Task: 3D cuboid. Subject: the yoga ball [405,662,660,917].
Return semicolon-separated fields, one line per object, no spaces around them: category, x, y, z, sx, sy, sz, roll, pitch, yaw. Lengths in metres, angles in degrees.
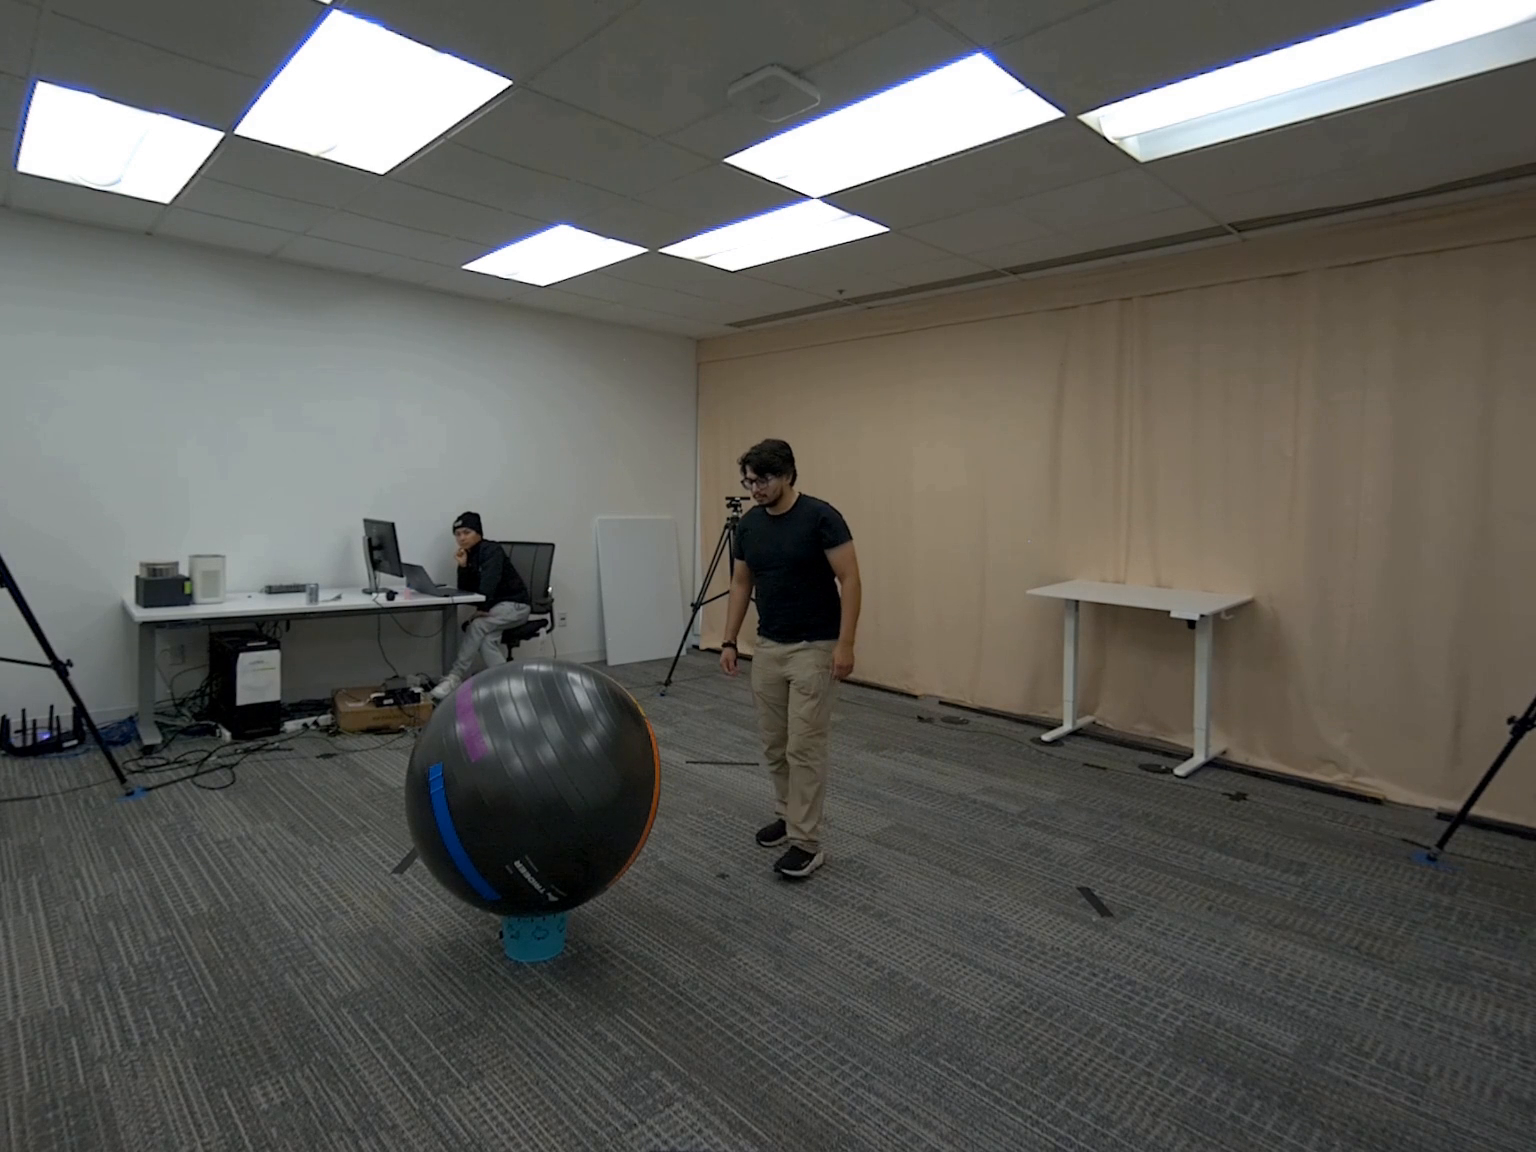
yoga ball;-0.710;0.636;2.566;0.757;0.756;0.761;1;4;-1
